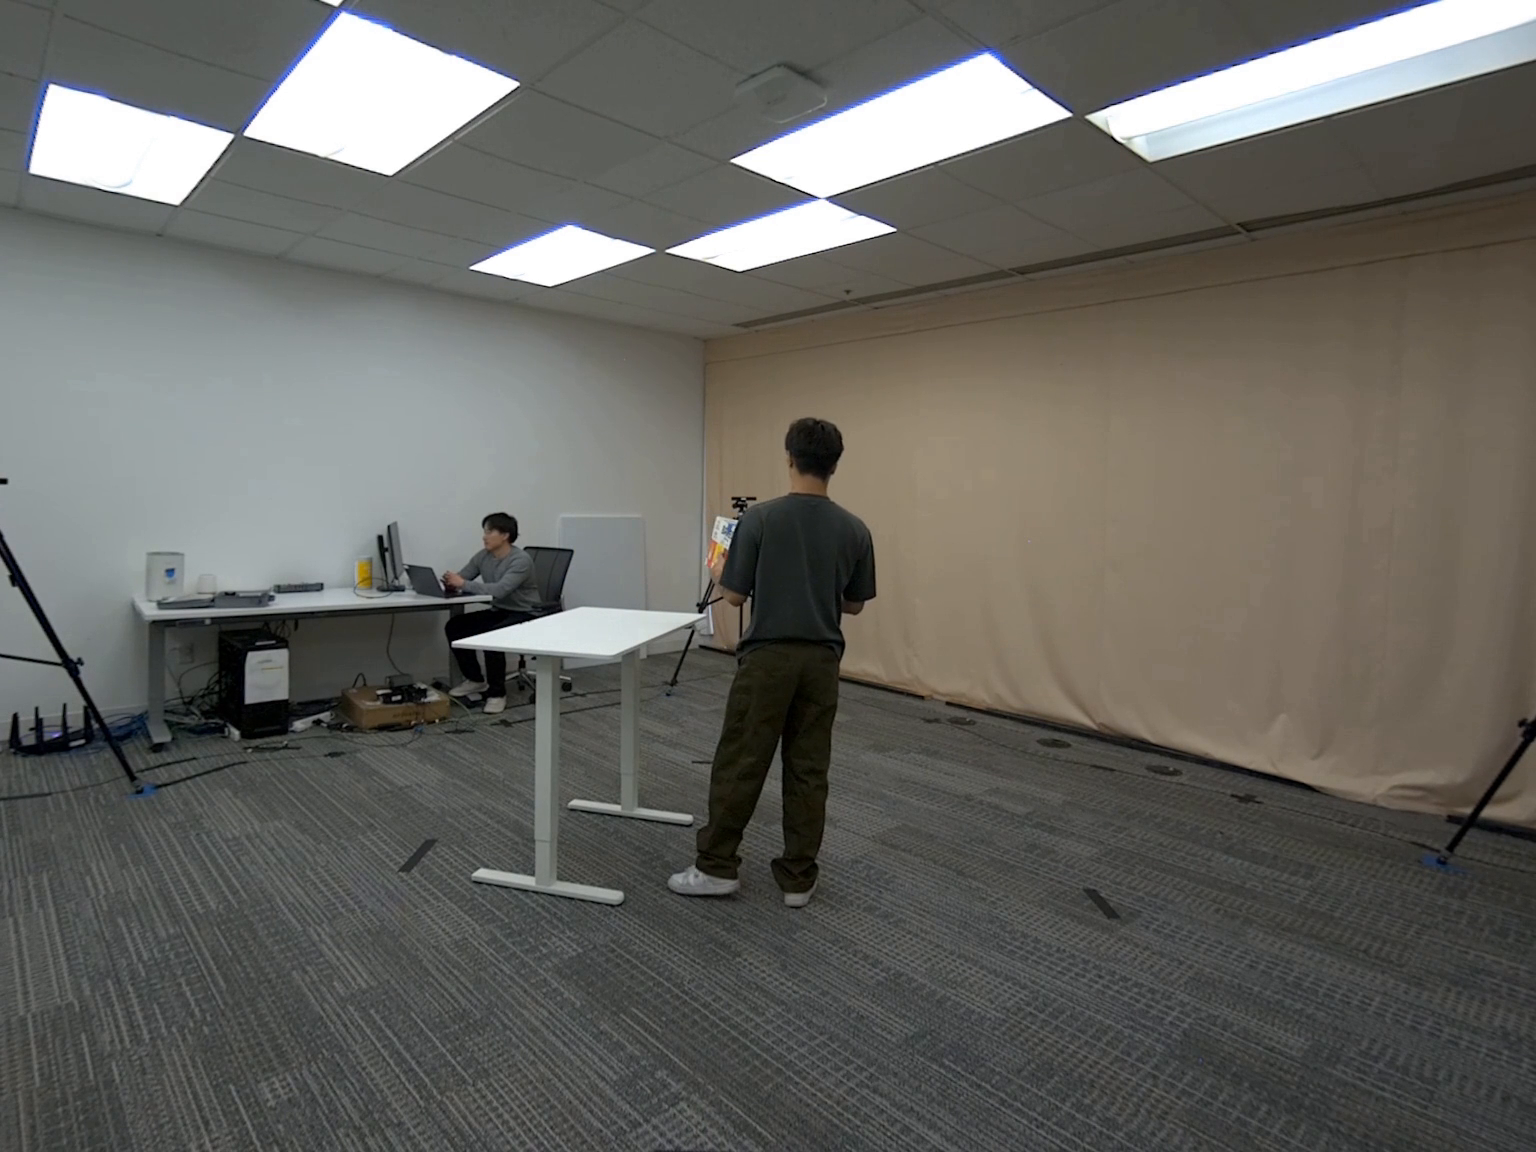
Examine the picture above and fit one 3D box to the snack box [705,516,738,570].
[{"bbox_3d":[0.012,-0.063,3.265,0.398,0.205,0.348,11,10,-21],"label":"snack box"}]
